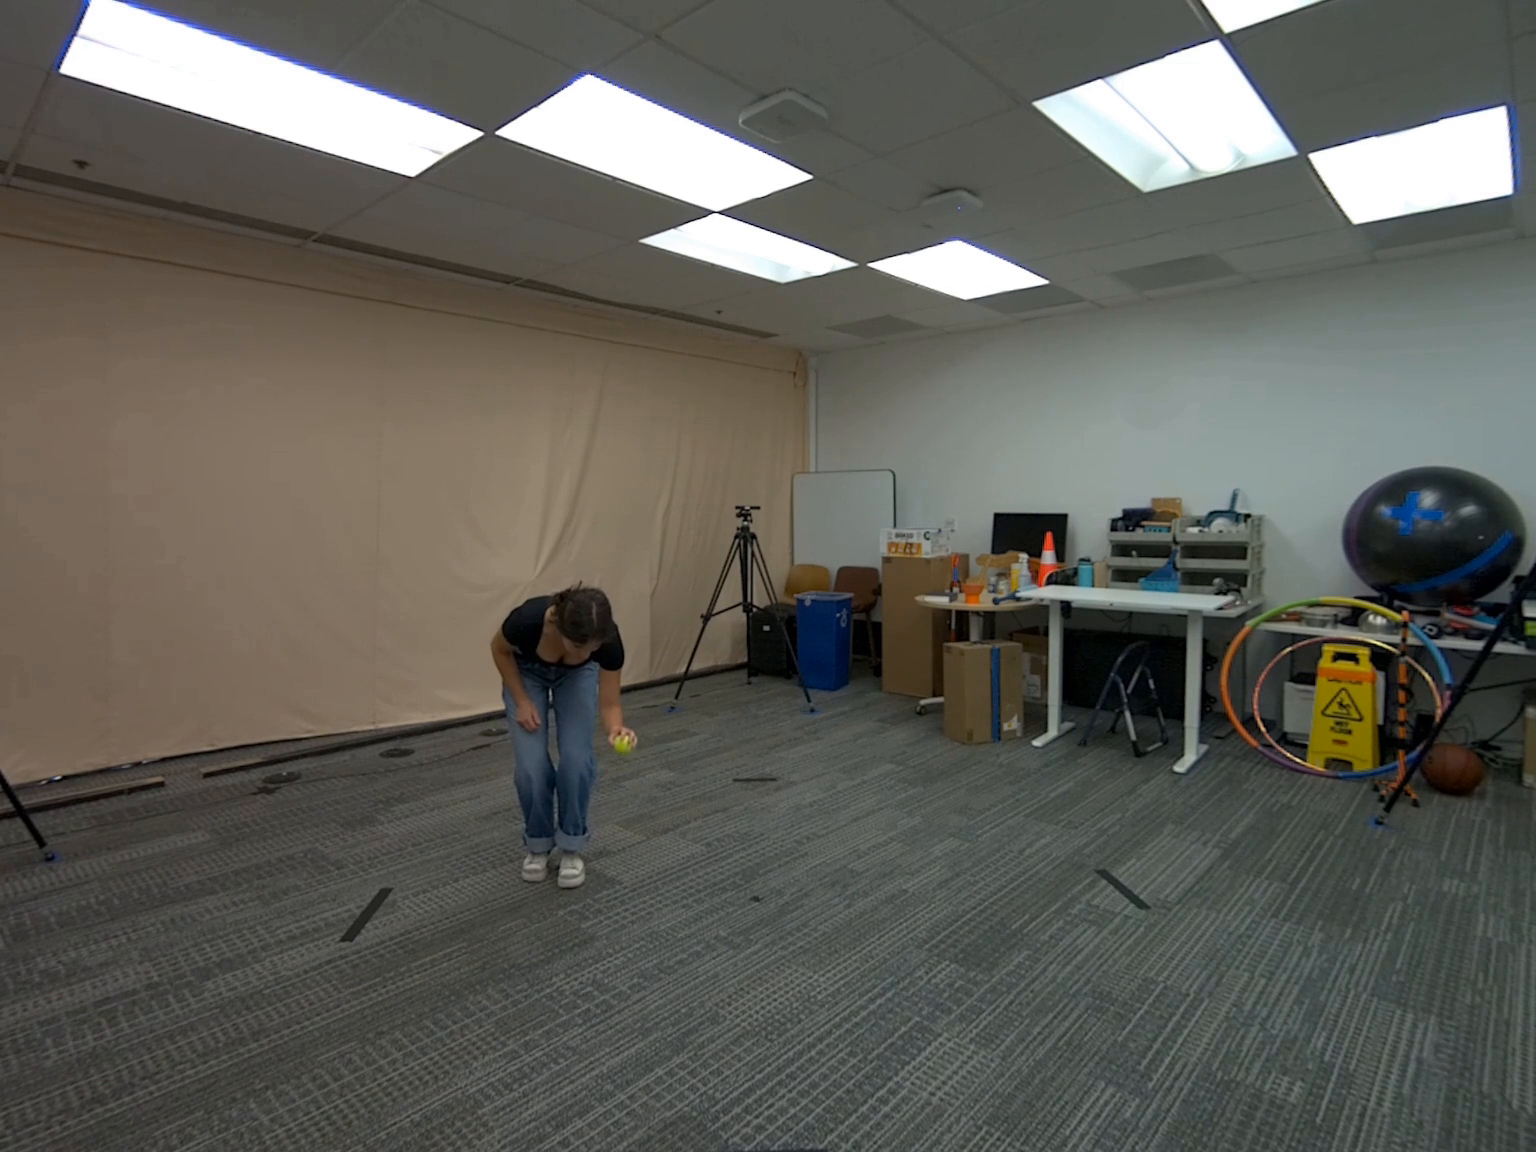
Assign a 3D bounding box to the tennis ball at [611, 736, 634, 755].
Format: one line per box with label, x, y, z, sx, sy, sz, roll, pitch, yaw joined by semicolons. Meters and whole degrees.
tennis ball;-0.464;0.592;2.767;0.066;0.066;0.067;0;4;-2
